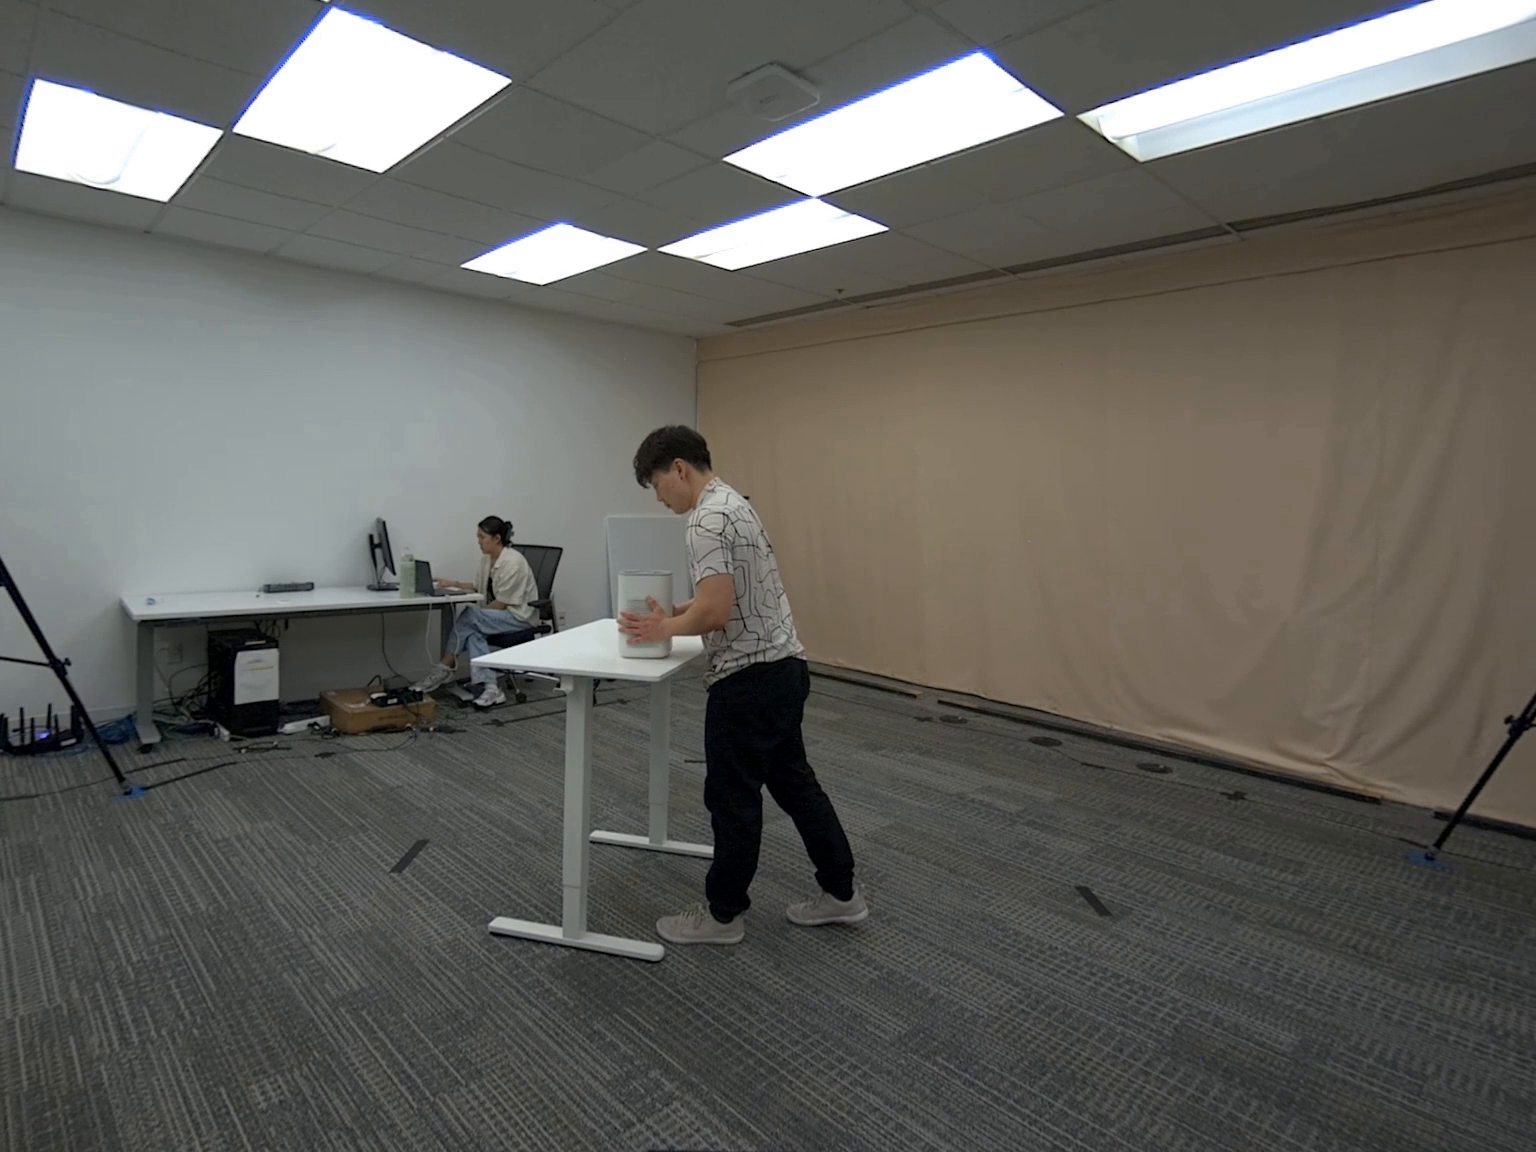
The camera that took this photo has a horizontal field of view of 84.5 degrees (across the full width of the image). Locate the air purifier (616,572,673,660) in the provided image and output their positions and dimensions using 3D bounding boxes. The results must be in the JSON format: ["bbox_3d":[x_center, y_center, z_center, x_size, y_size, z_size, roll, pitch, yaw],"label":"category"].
[{"bbox_3d":[-0.397,0.123,2.679,0.171,0.265,0.171,0,3,-2],"label":"air purifier"}]
